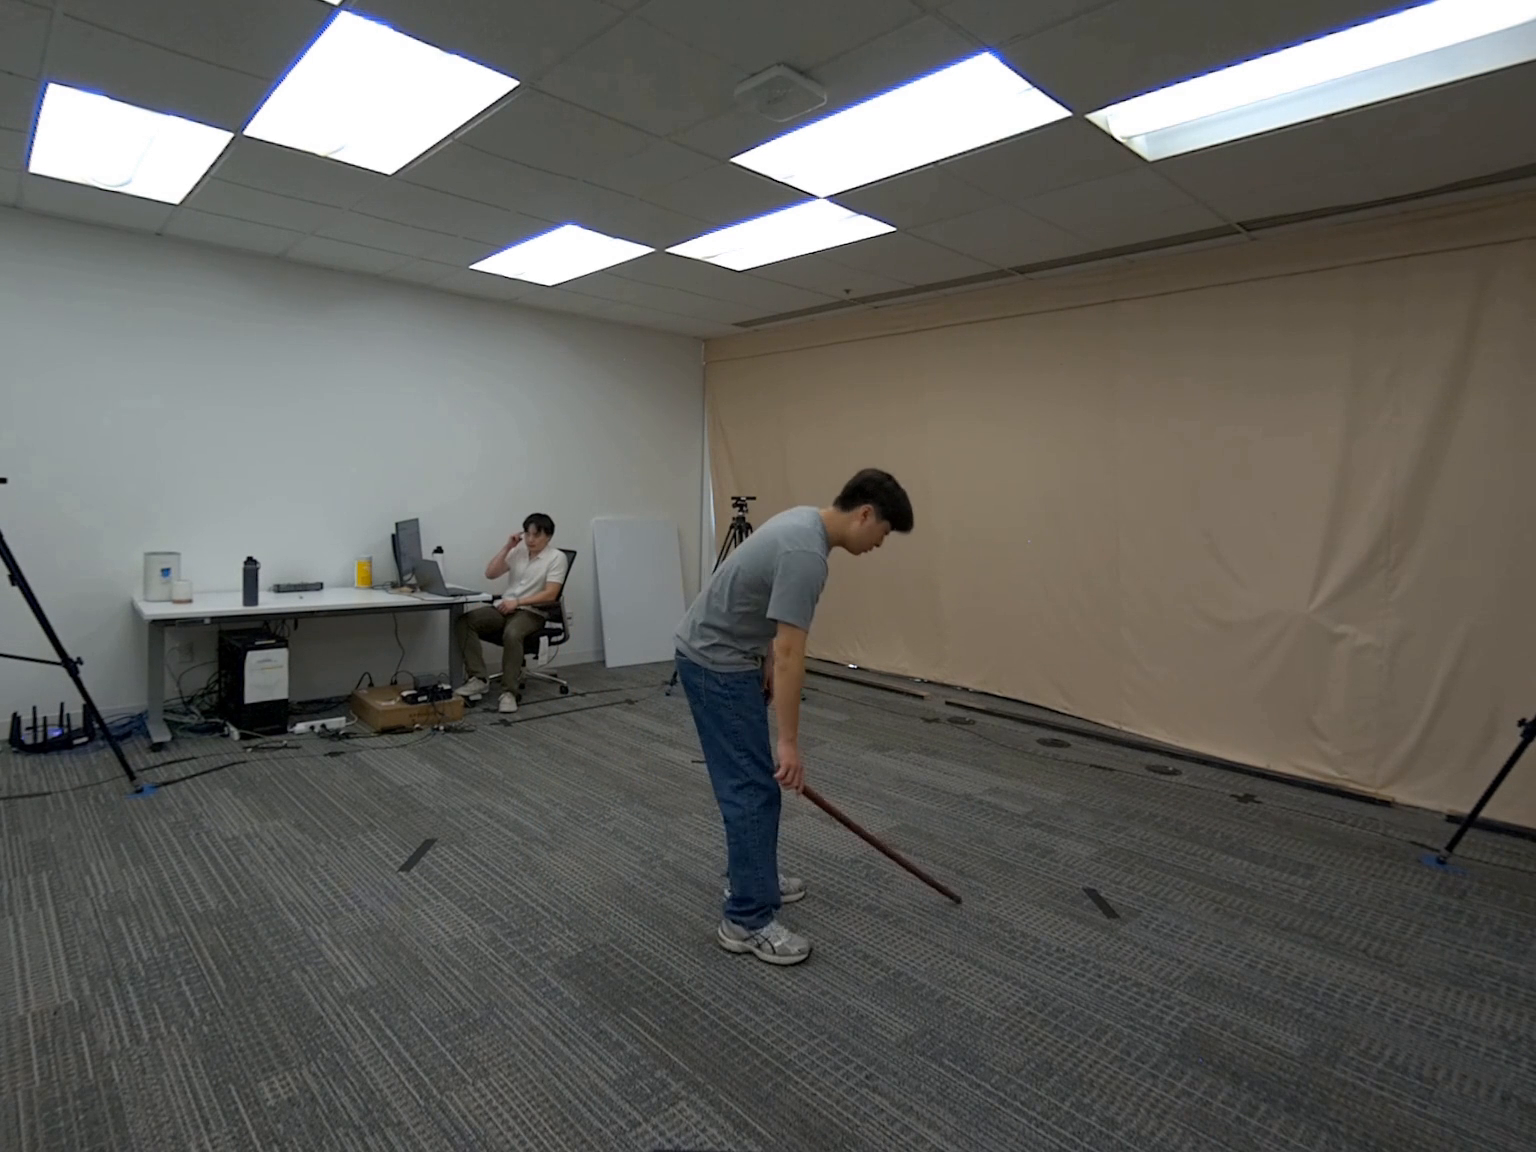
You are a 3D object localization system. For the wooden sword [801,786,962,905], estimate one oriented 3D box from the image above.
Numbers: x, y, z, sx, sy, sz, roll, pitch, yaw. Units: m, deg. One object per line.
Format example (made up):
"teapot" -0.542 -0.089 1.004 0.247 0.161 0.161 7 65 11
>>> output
"wooden sword" 0.358 0.862 2.702 0.995 0.024 0.053 40 -5 -32
